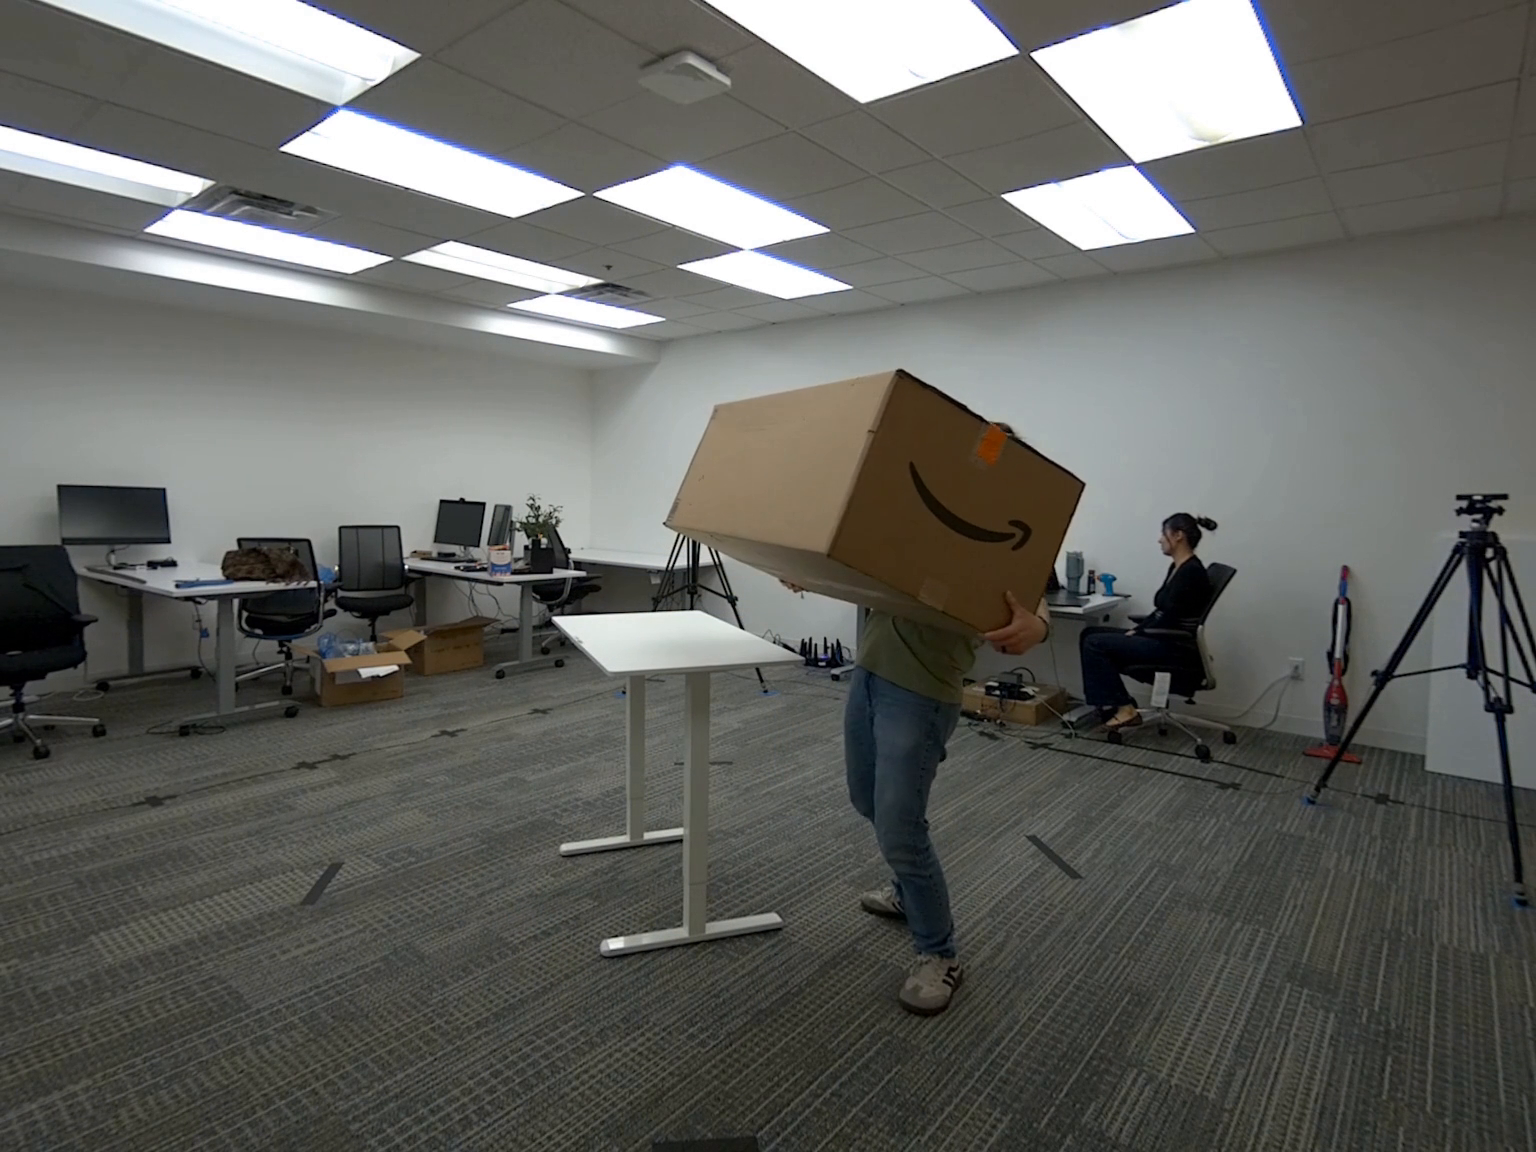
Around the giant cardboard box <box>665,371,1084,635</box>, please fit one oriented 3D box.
[{"bbox_3d":[0.198,-0.190,2.326,0.560,0.427,1.055,26,-5,-26],"label":"giant cardboard box"}]
